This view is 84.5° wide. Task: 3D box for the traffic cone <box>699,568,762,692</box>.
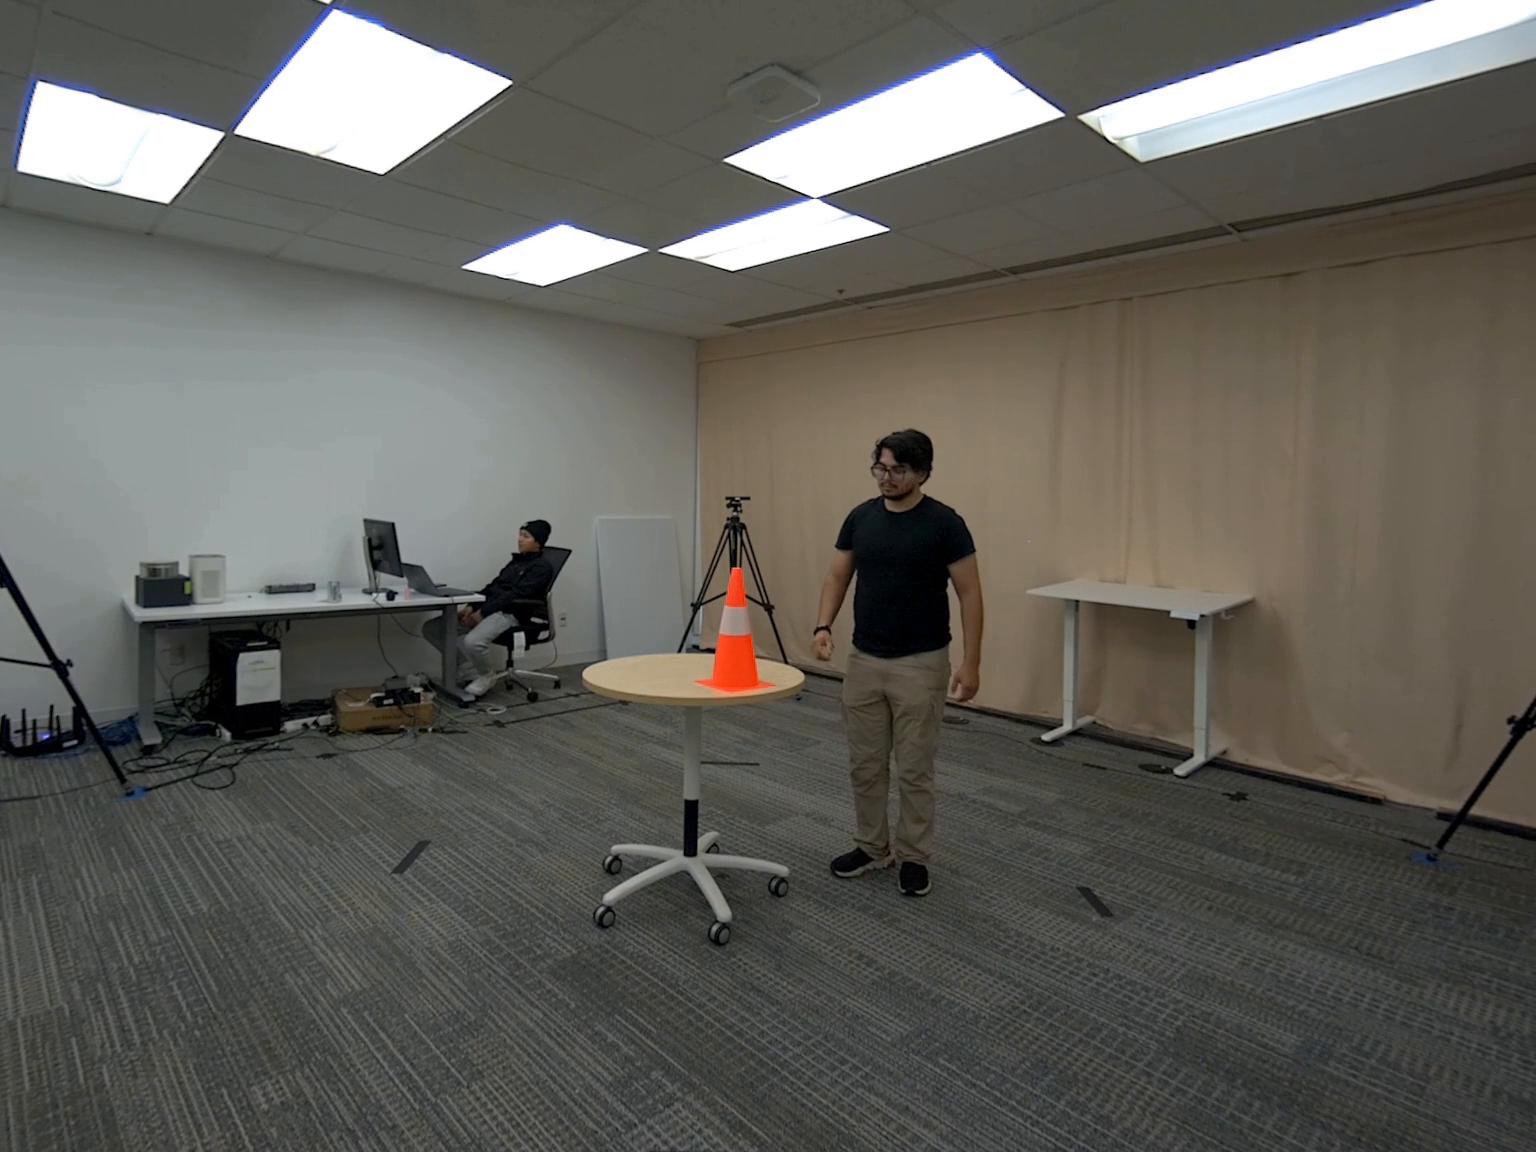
[{"bbox_3d":[-0.106,0.169,2.737,0.208,0.383,0.200,3,3,34],"label":"traffic cone"}]
